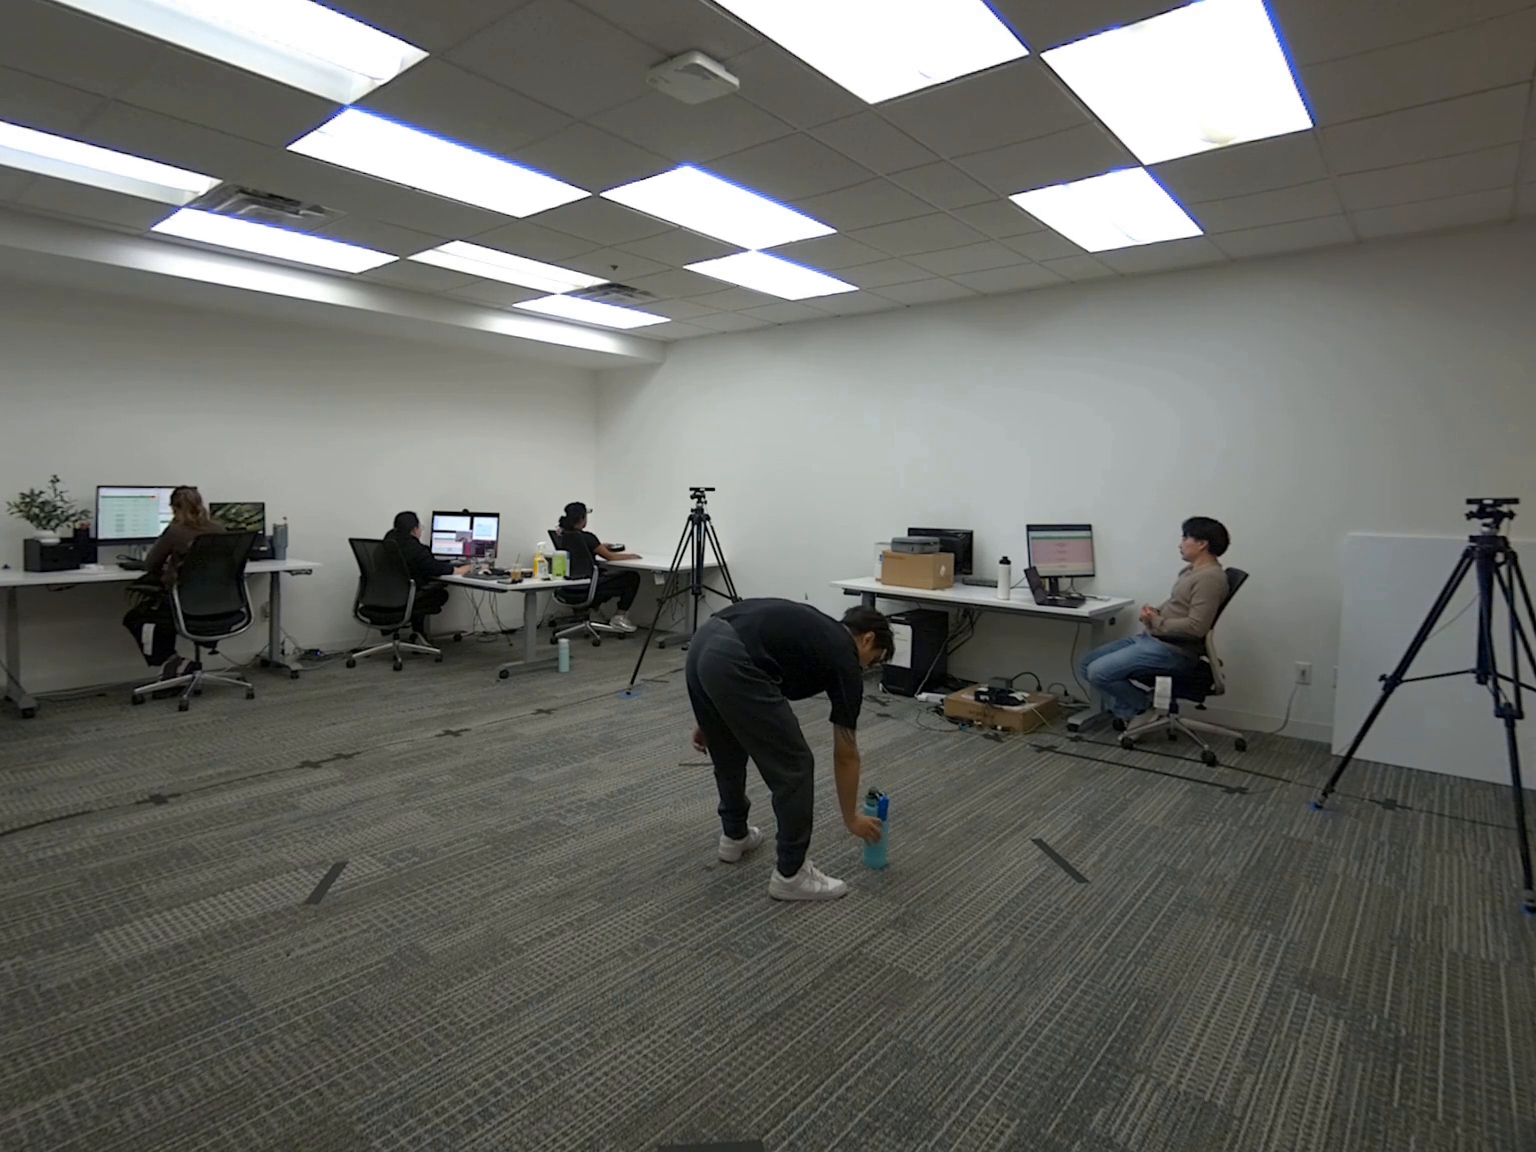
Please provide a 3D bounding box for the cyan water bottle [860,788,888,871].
[{"bbox_3d":[0.397,0.938,3.174,0.092,0.282,0.093,0,4,-2],"label":"cyan water bottle"}]
